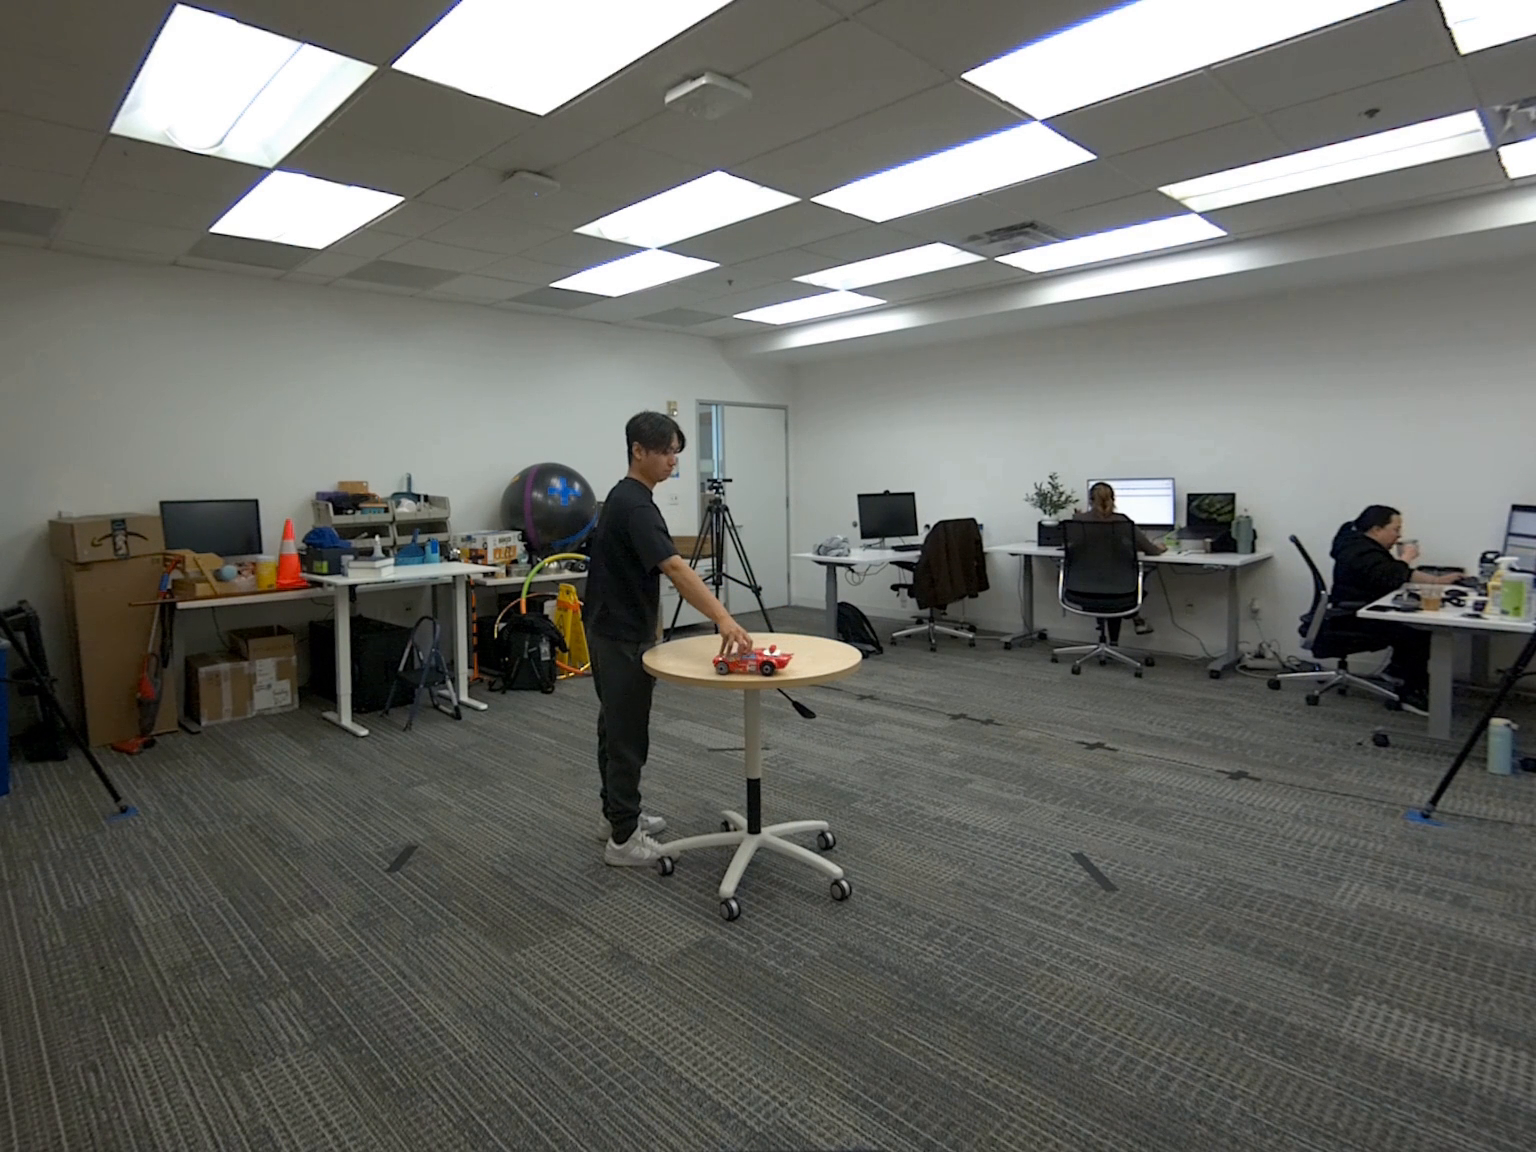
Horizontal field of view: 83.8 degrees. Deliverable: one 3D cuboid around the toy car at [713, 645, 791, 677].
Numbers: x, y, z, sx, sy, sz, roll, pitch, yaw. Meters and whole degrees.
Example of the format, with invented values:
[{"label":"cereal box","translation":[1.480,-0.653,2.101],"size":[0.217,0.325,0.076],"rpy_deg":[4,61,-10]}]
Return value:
[{"label":"toy car","translation":[-0.037,0.277,2.727],"size":[0.257,0.083,0.129],"rpy_deg":[-12,4,12]}]
